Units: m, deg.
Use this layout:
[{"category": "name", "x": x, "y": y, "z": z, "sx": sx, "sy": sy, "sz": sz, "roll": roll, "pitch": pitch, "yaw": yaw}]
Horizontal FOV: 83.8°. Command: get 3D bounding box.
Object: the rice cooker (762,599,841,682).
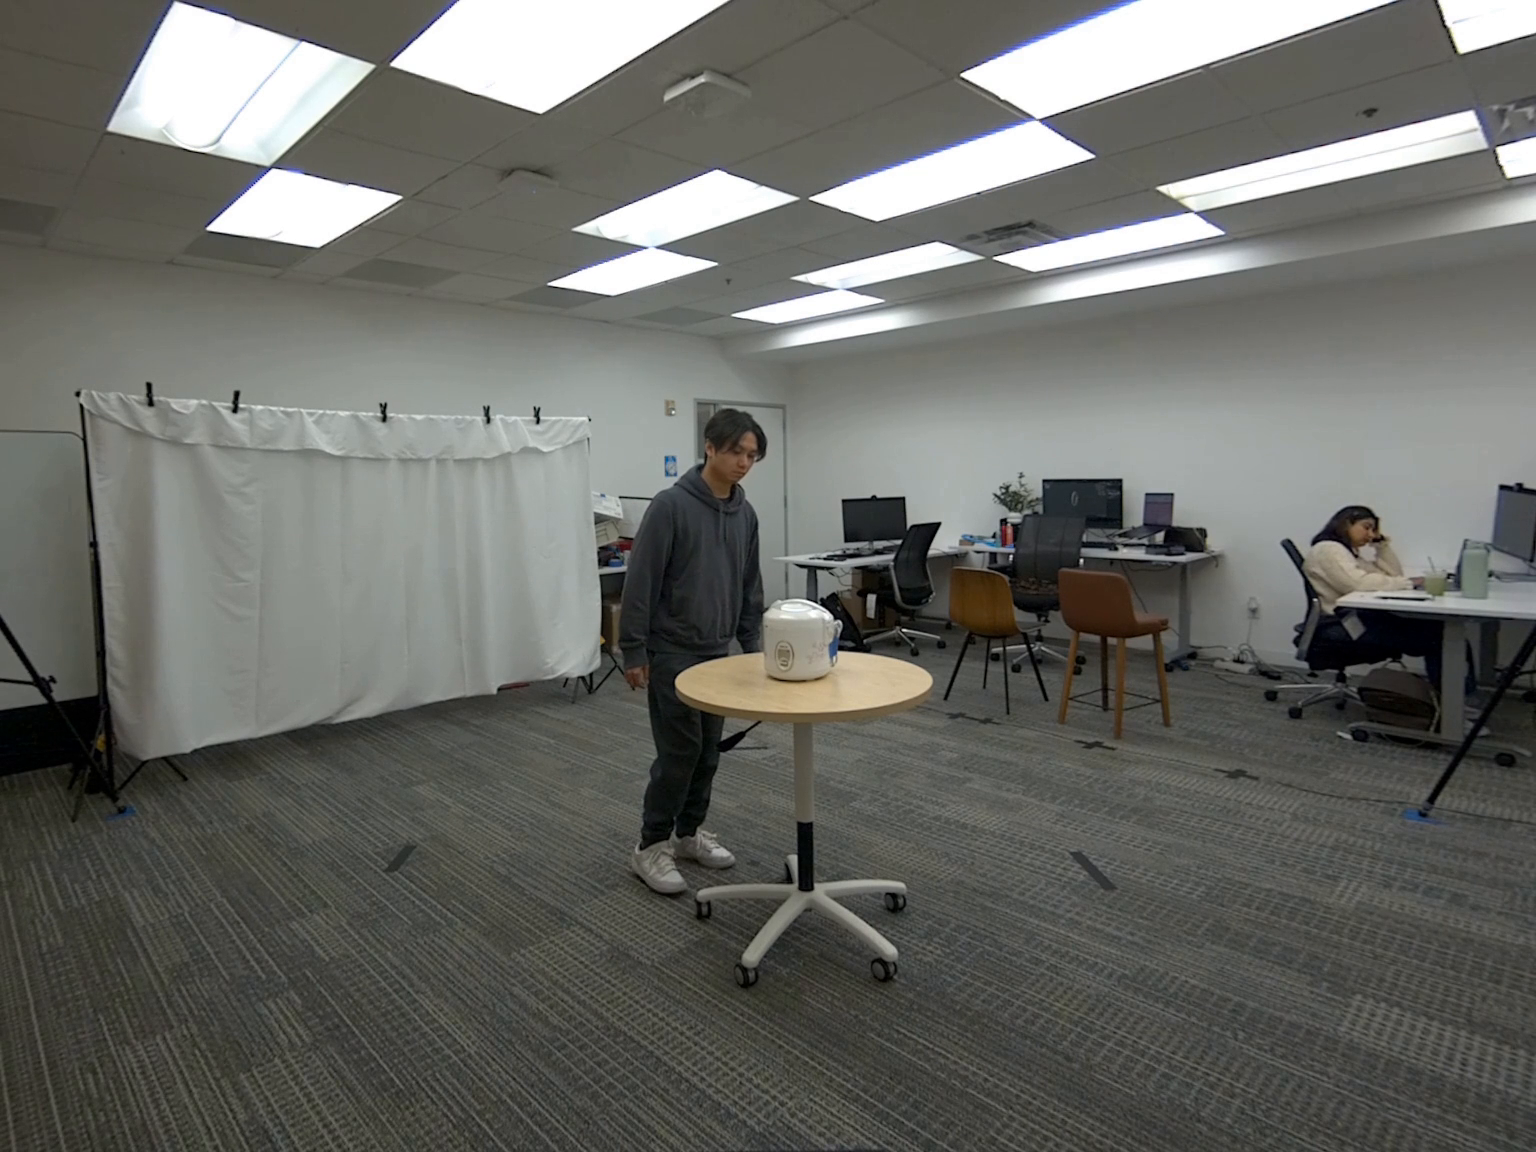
[{"category": "rice cooker", "x": 0.096, "y": 0.187, "z": 2.585, "sx": 0.226, "sy": 0.232, "sz": 0.213, "roll": 0, "pitch": 4, "yaw": 25}]
